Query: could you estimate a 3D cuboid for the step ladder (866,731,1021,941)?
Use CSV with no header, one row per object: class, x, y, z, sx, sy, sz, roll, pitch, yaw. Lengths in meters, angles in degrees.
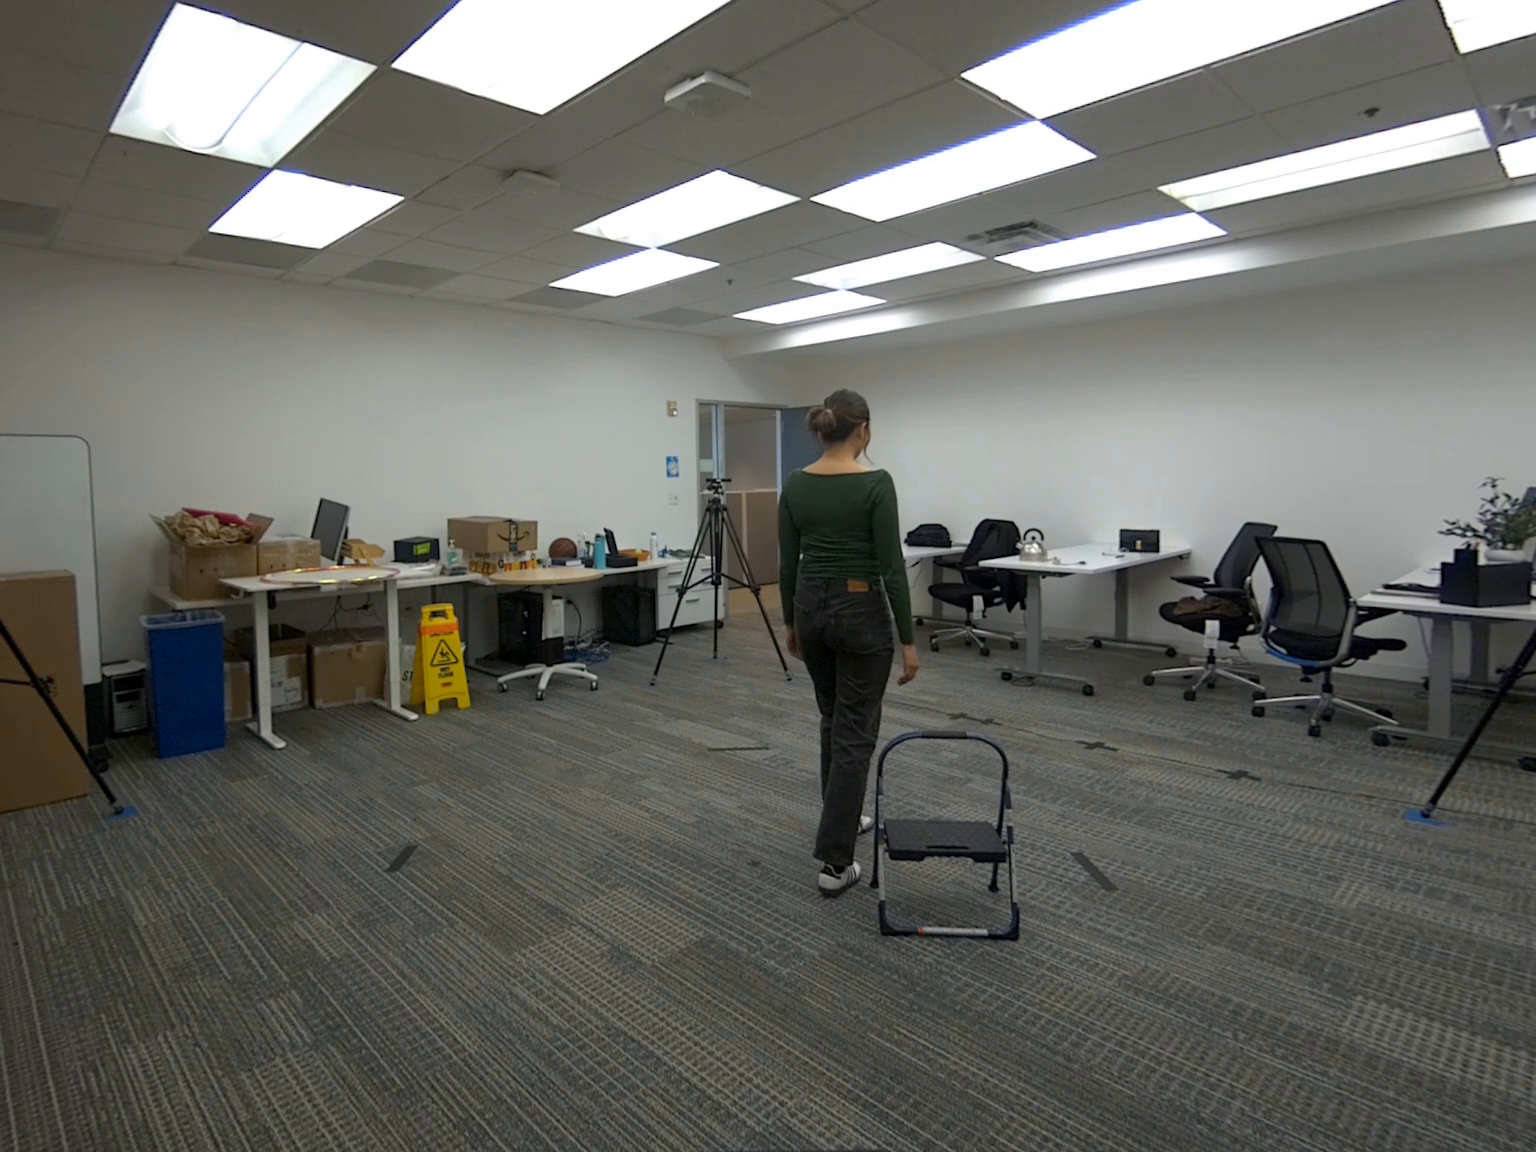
step ladder,0.559,0.775,2.722,0.433,0.604,0.349,-1,4,4
